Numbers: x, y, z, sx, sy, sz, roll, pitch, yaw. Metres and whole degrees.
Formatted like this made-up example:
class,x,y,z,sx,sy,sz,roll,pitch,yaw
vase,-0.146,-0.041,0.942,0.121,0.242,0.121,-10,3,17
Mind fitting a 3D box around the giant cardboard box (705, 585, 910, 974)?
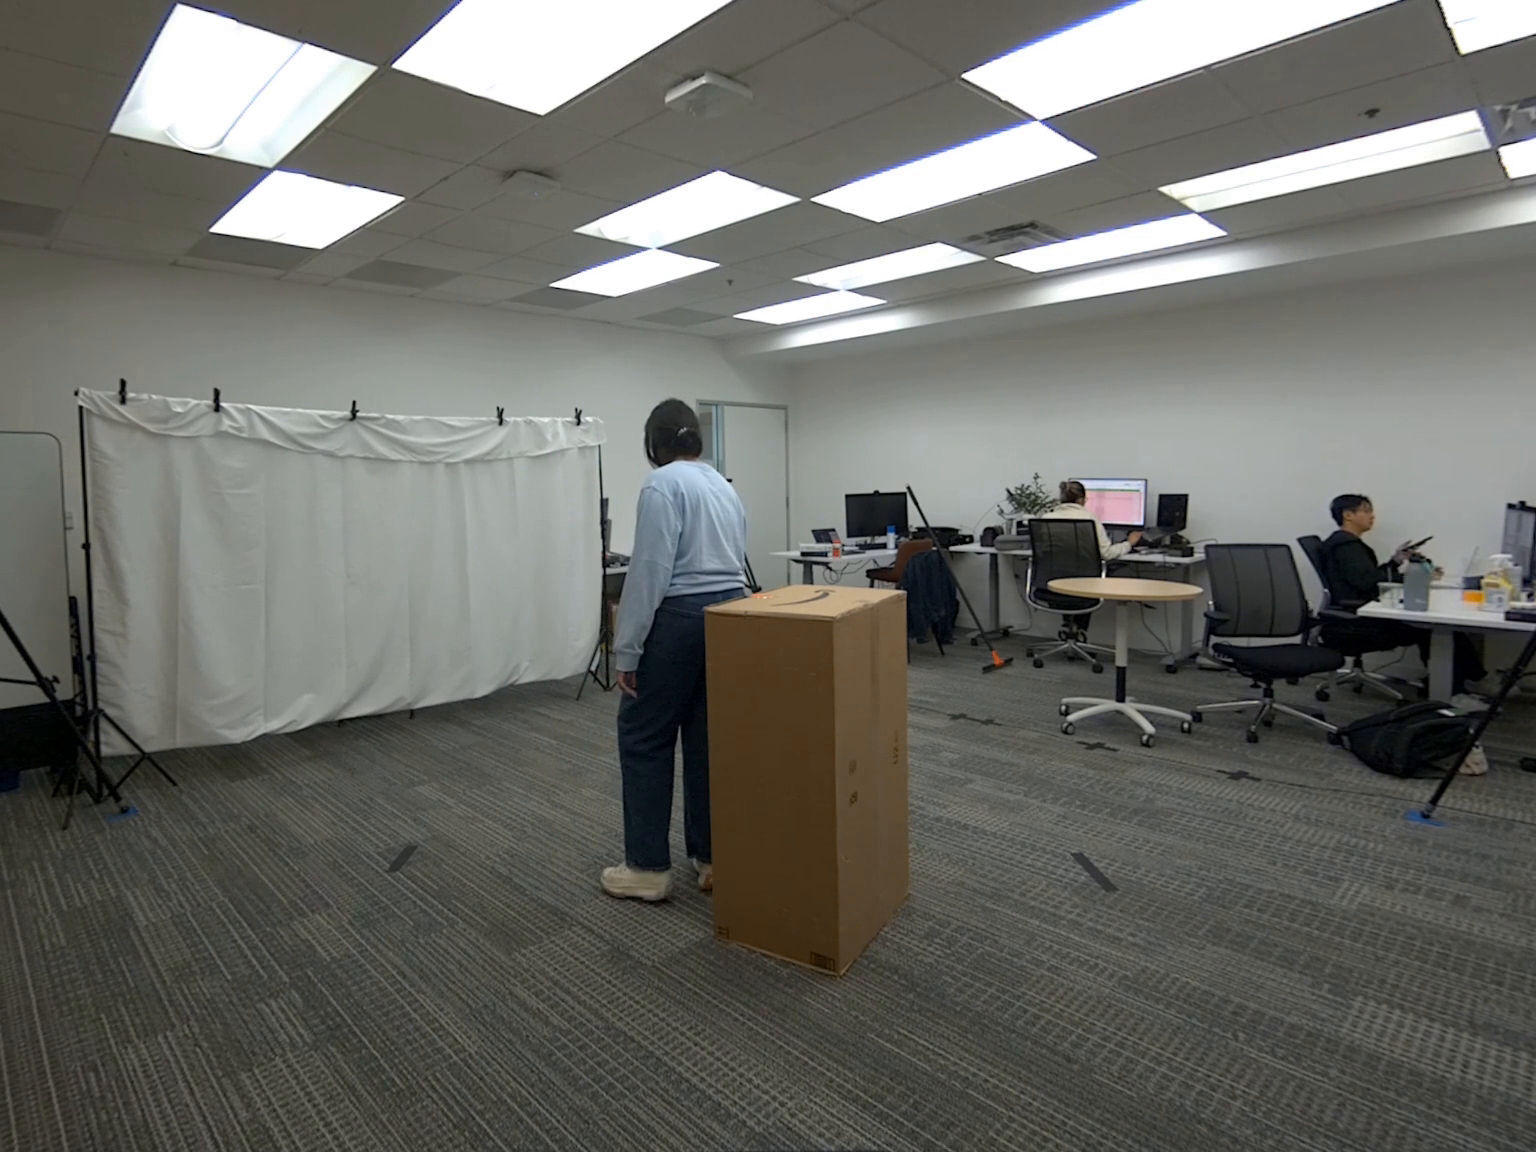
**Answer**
class,x,y,z,sx,sy,sz,roll,pitch,yaw
giant cardboard box,0.145,0.579,2.696,0.437,1.022,0.564,1,5,31
